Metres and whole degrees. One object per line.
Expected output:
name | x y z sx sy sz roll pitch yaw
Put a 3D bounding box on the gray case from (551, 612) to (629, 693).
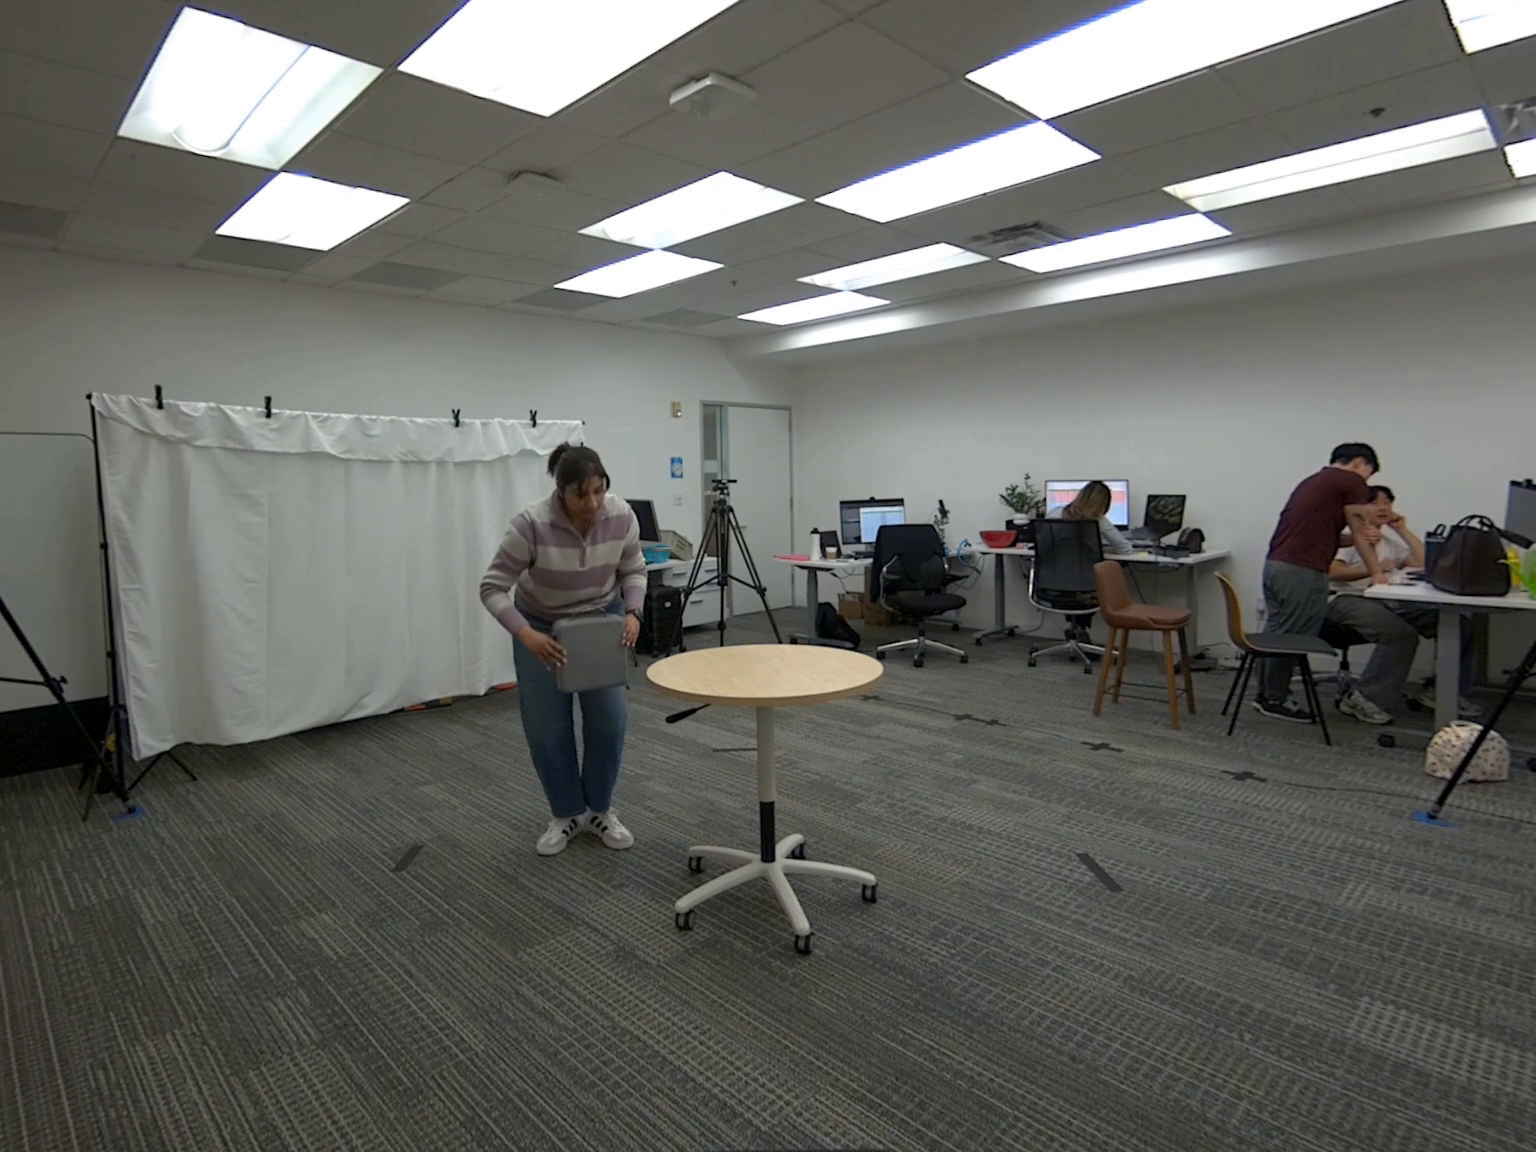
gray case | -0.631 0.280 3.006 0.252 0.260 0.107 -4 4 -25
